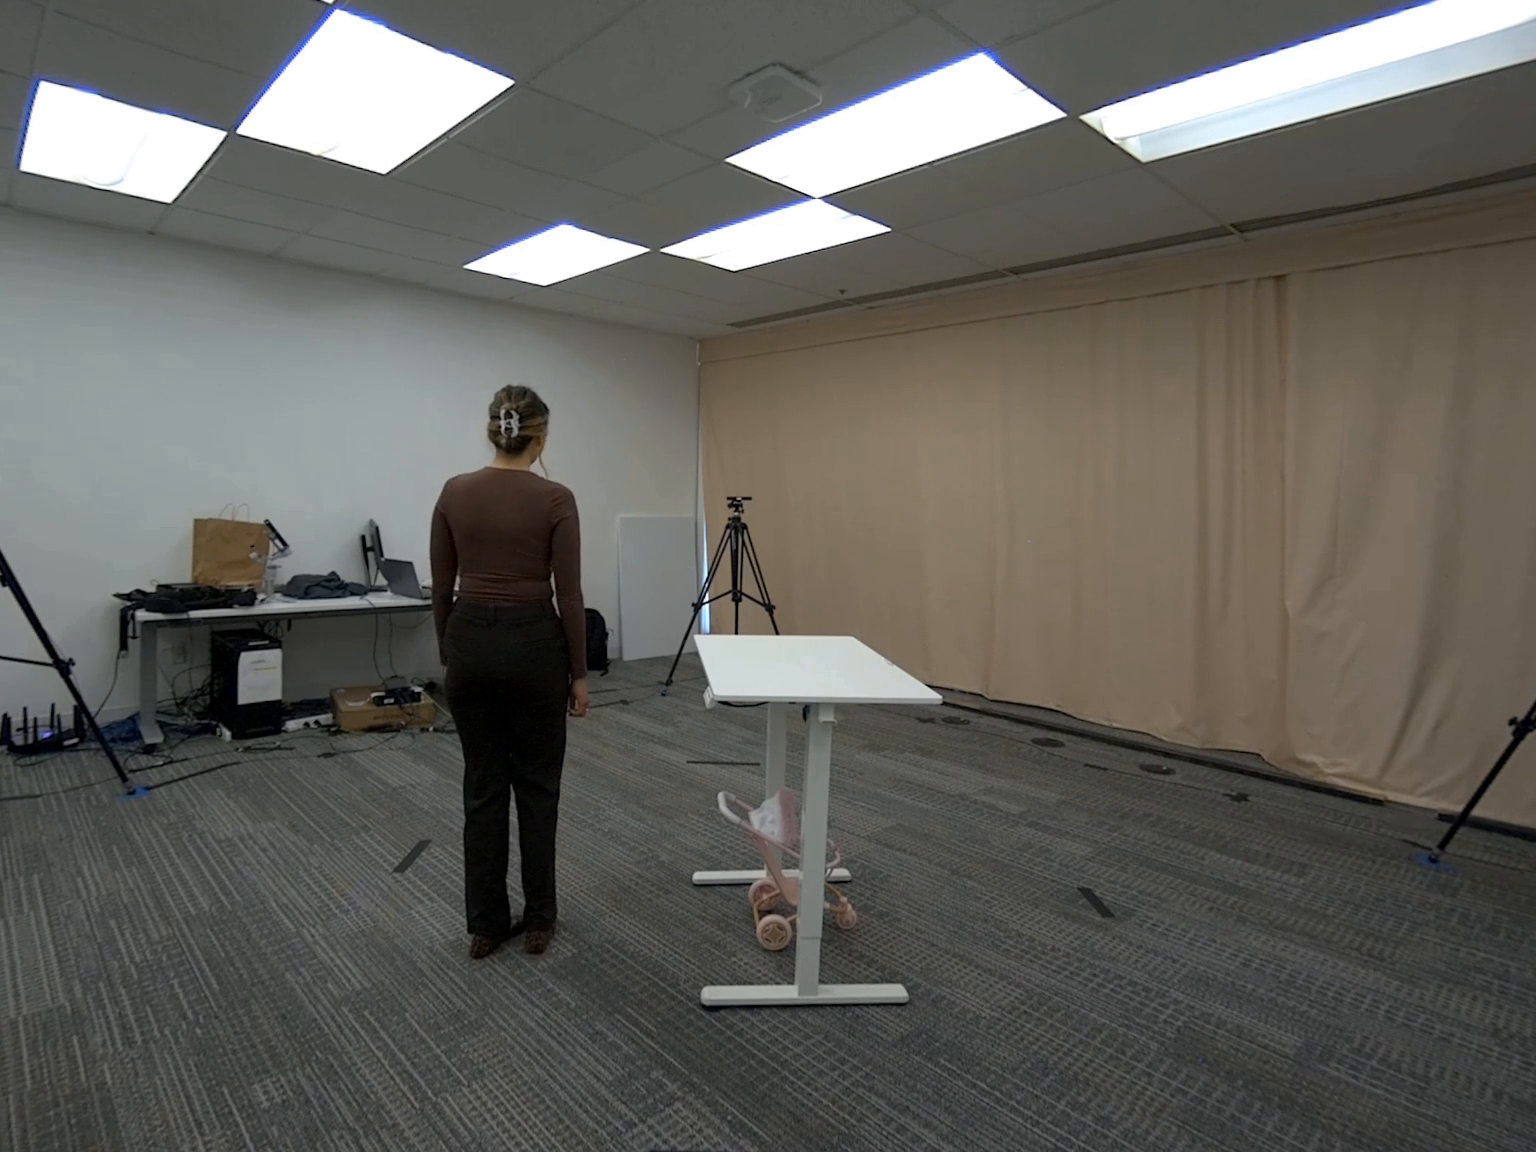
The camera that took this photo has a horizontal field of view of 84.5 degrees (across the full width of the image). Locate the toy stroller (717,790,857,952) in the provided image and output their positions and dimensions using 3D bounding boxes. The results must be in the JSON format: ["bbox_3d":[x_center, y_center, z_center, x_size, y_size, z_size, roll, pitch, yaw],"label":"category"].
[{"bbox_3d":[0.067,0.924,2.709,0.341,0.533,0.282,-15,4,-1],"label":"toy stroller"}]
